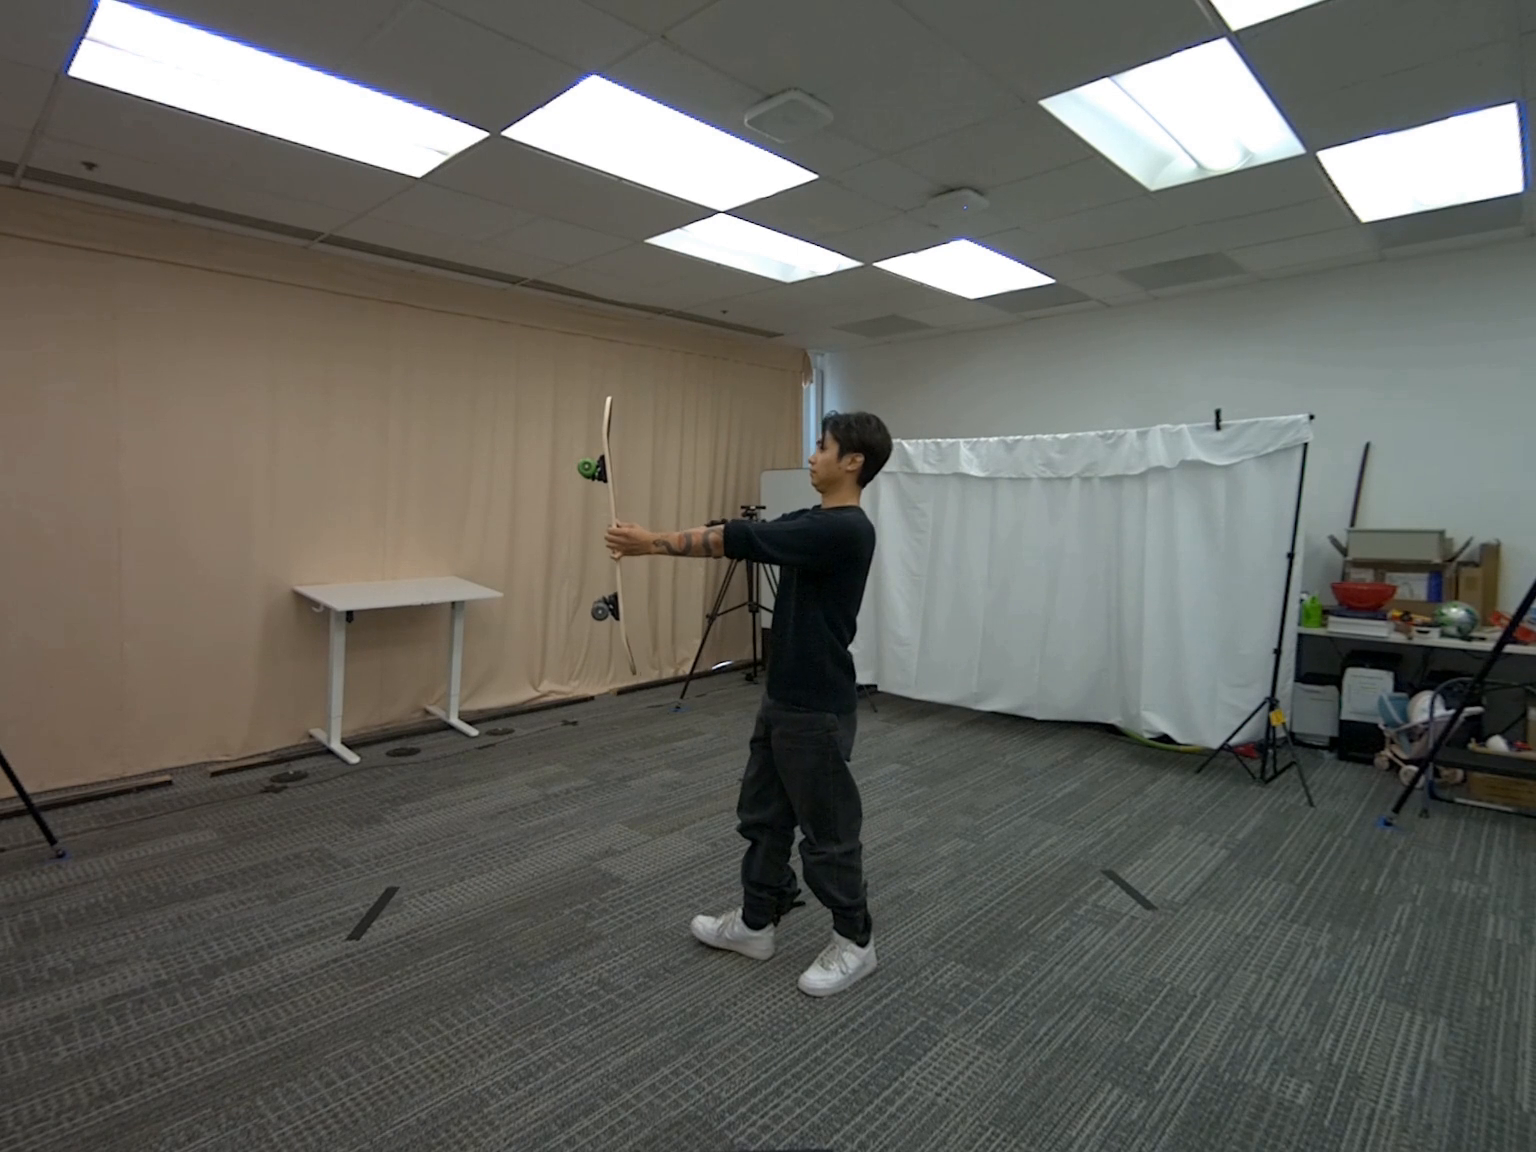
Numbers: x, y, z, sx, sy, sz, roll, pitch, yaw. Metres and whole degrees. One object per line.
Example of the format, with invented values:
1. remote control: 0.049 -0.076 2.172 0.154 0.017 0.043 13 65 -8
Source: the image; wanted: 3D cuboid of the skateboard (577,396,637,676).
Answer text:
1. skateboard: -0.462 -0.104 2.376 0.109 0.784 0.196 -6 2 -11
